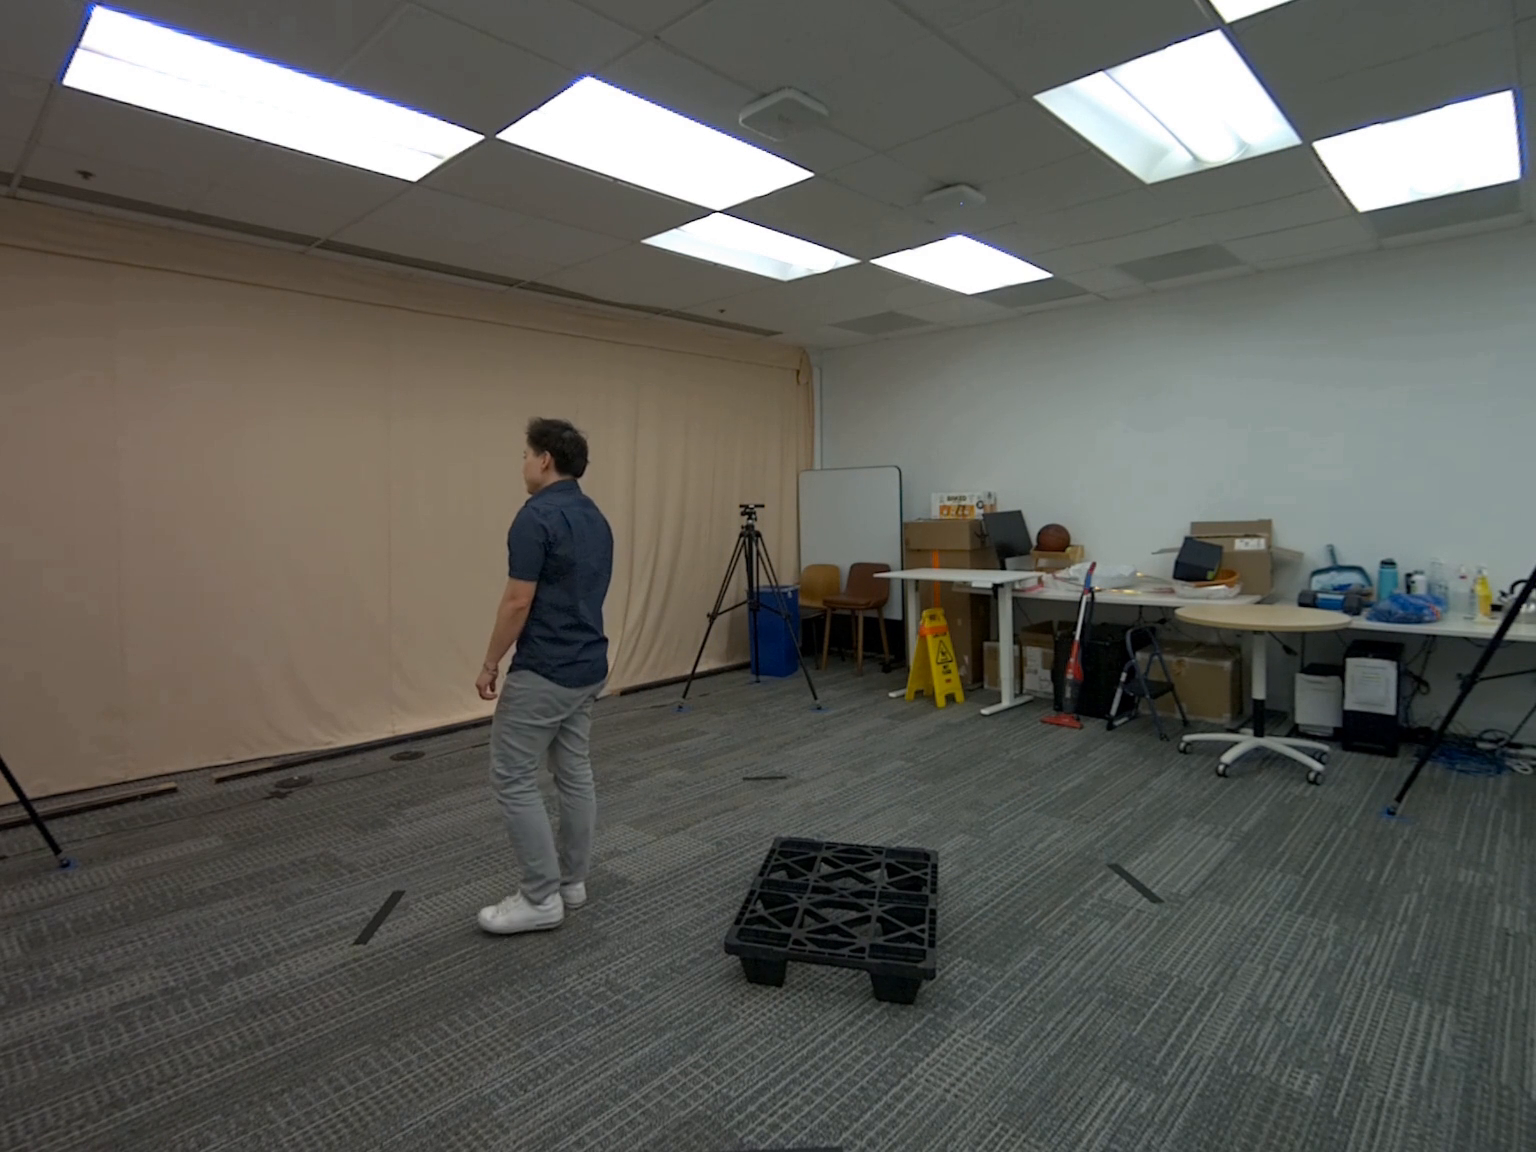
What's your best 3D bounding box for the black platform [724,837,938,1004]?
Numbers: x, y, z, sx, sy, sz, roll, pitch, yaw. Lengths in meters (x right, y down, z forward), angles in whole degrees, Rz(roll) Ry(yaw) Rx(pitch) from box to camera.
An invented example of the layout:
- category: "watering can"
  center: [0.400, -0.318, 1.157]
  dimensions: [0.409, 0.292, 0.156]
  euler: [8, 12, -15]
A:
- category: "black platform"
  center: [0.248, 1.088, 2.740]
  dimensions: [0.614, 0.143, 0.795]
  euler: [1, 5, 13]
